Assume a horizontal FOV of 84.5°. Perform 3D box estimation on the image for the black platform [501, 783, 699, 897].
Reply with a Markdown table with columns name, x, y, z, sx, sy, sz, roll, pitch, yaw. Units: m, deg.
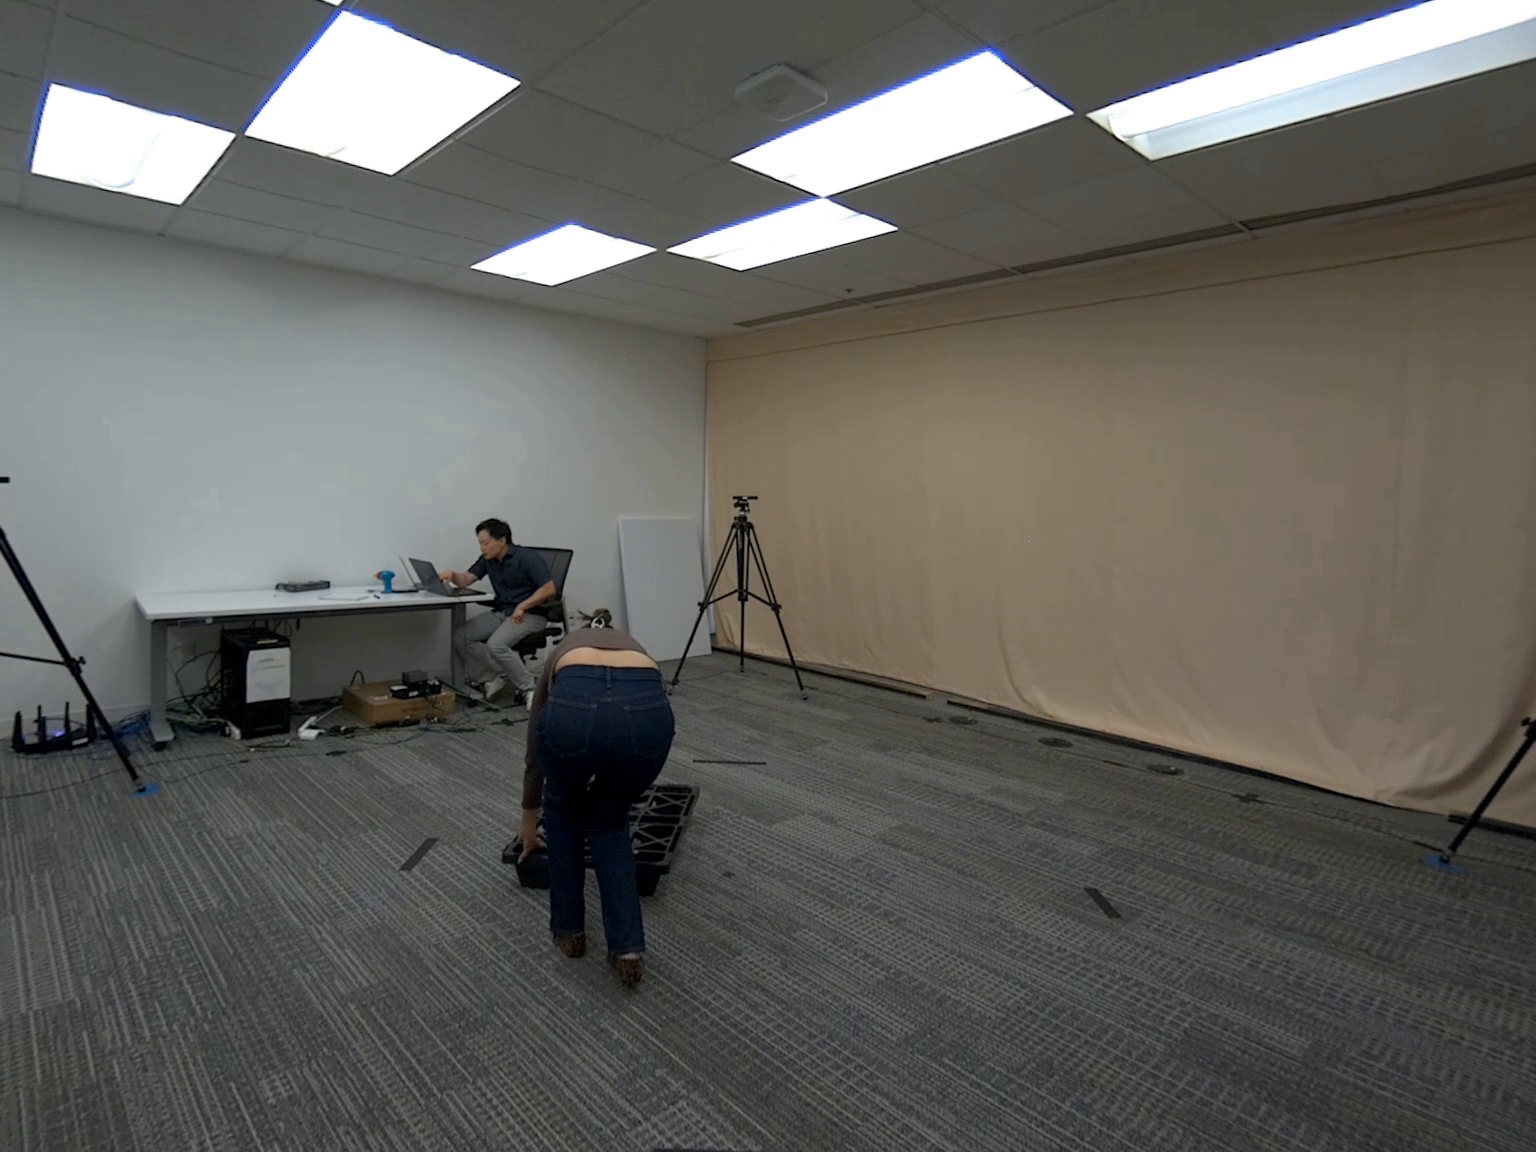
| name | x | y | z | sx | sy | sz | roll | pitch | yaw |
| --- | --- | --- | --- | --- | --- | --- | --- | --- | --- |
| black platform | -0.622 | 1.009 | 3.297 | 0.607 | 0.143 | 0.805 | 1 | 5 | 4 |
